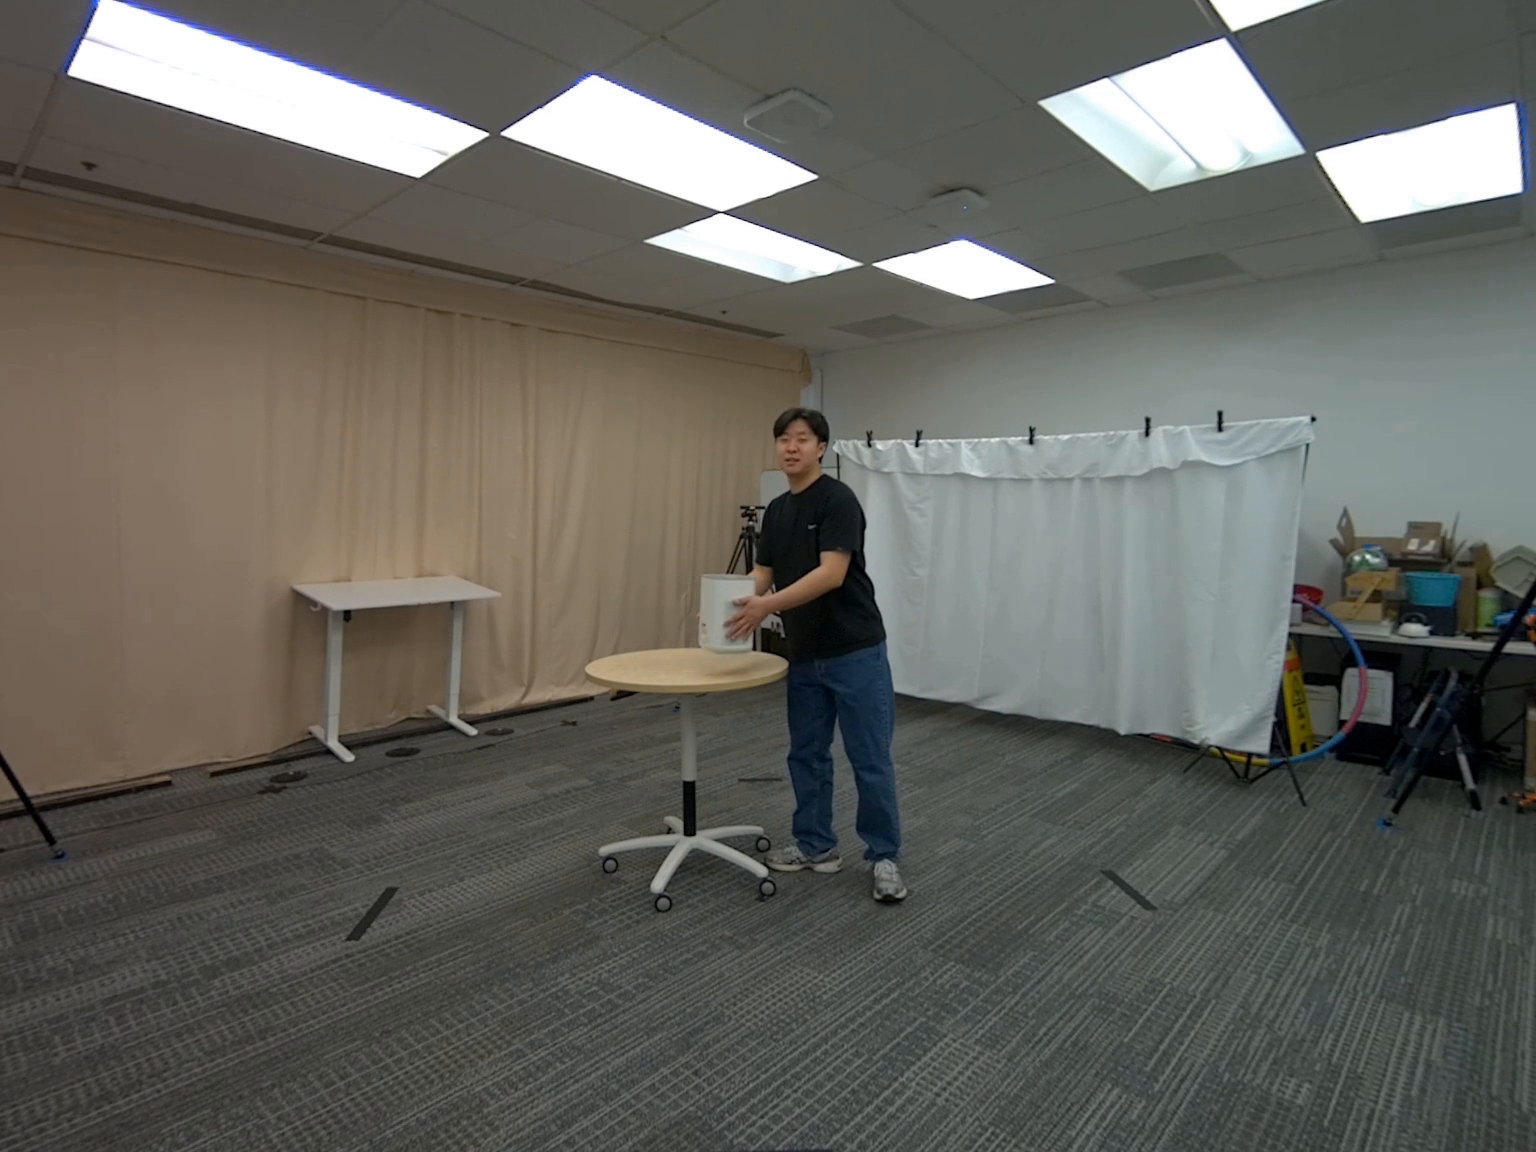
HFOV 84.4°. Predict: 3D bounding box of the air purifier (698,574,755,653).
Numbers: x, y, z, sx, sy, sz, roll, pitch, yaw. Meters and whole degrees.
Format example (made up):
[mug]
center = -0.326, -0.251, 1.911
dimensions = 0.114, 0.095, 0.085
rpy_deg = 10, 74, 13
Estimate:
[air purifier]
center = -0.135, 0.135, 2.961
dimensions = 0.167, 0.265, 0.176
rpy_deg = 2, 4, -28
